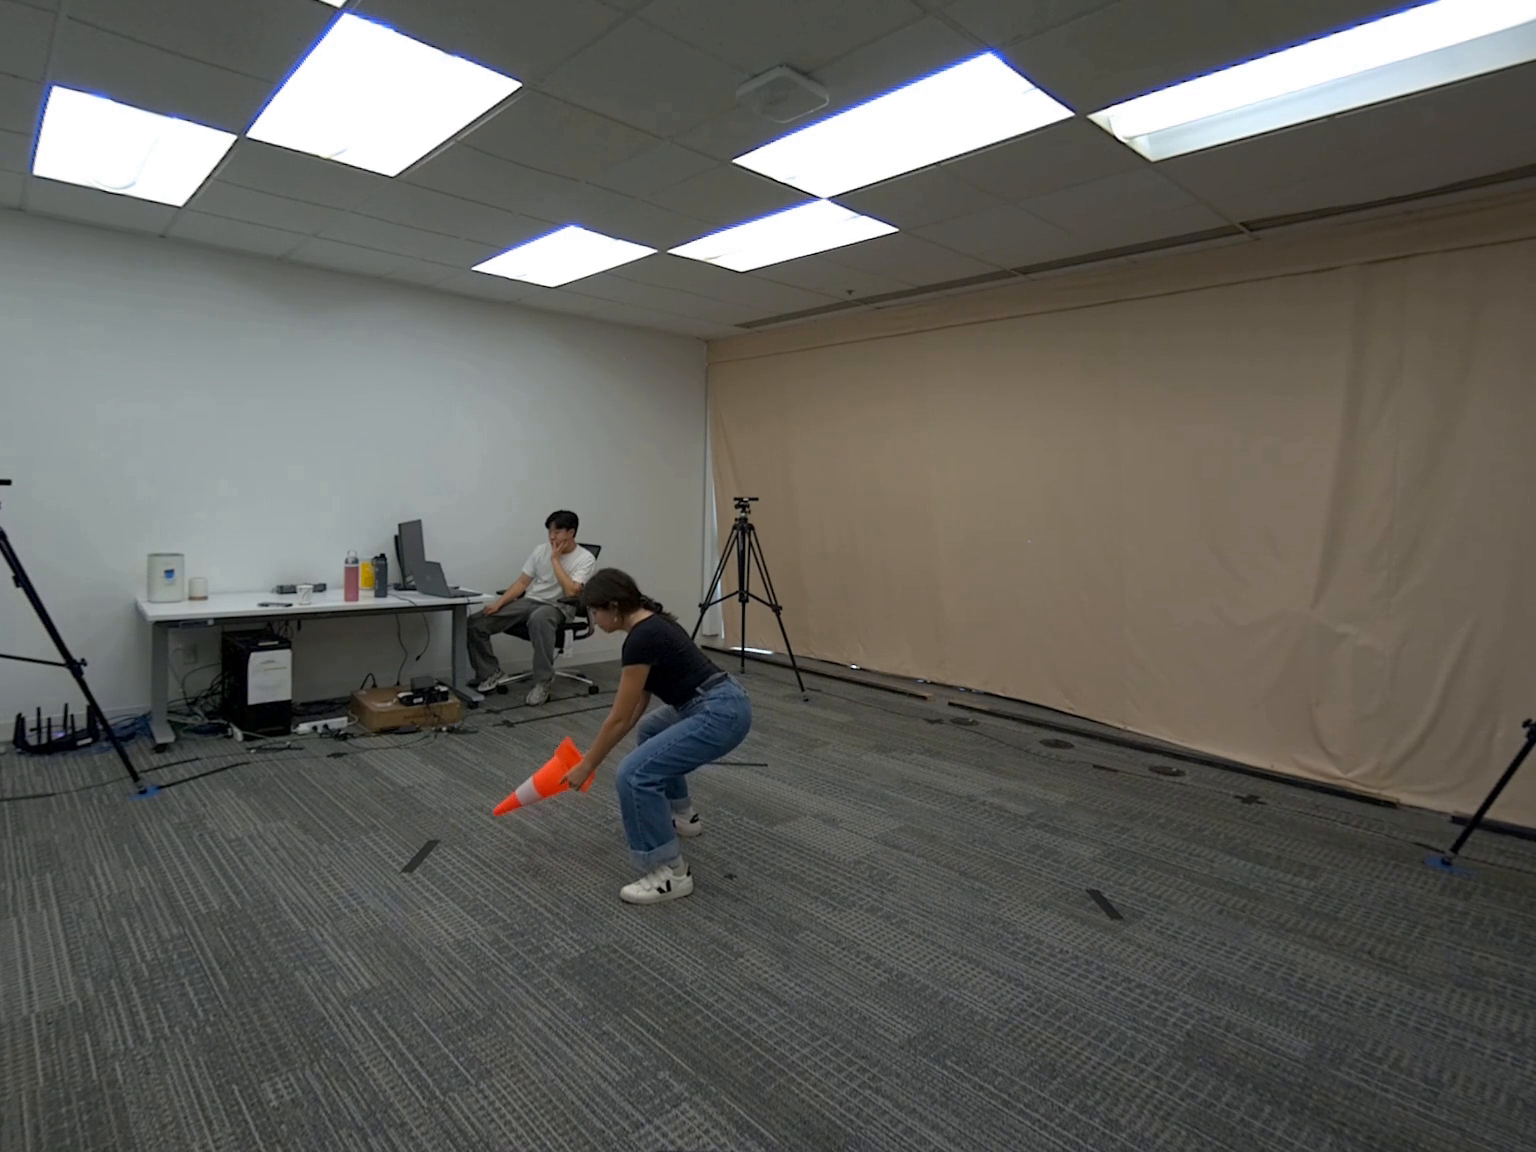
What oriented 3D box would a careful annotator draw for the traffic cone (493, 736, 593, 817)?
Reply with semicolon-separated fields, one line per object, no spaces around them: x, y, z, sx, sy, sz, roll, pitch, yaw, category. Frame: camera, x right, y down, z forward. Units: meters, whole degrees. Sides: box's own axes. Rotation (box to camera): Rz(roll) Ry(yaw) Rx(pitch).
-0.906;0.810;3.266;0.384;0.204;0.204;-30;6;4;traffic cone
